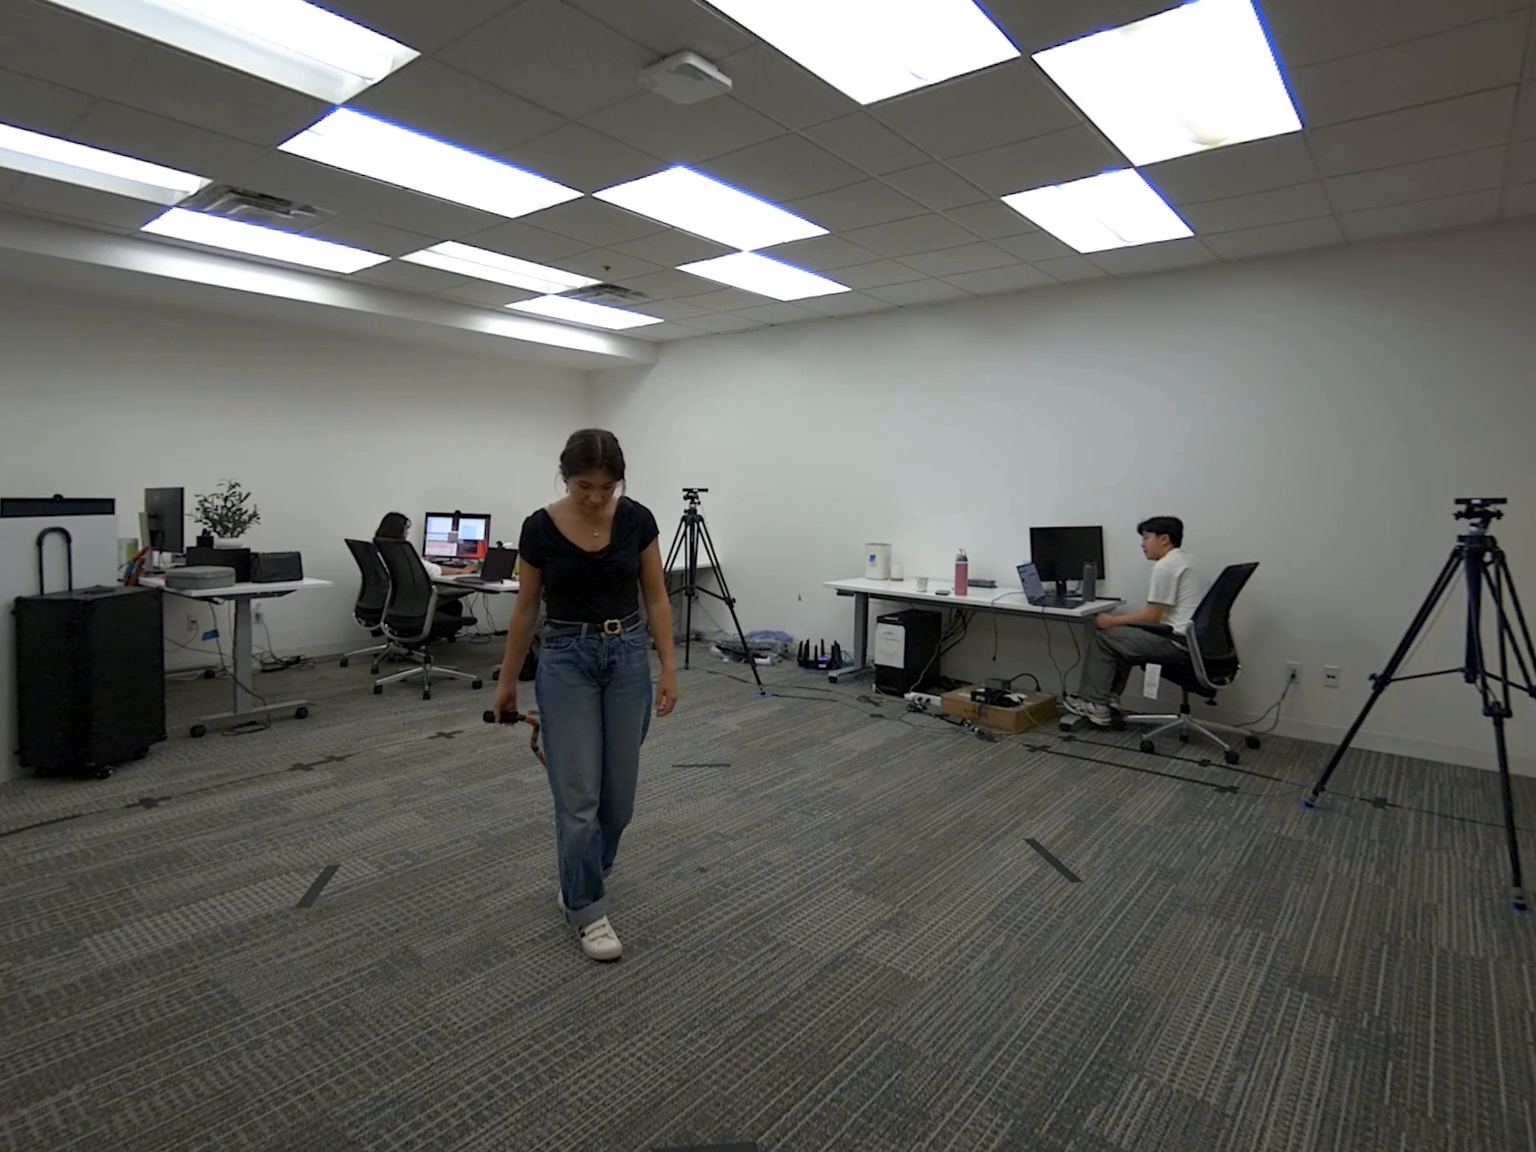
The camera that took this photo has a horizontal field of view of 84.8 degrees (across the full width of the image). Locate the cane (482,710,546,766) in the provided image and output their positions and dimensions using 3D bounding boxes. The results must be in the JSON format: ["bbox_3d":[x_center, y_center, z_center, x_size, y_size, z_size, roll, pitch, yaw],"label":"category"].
[{"bbox_3d":[-0.748,0.711,2.962,0.209,0.155,0.876,0,-38,11],"label":"cane"}]
